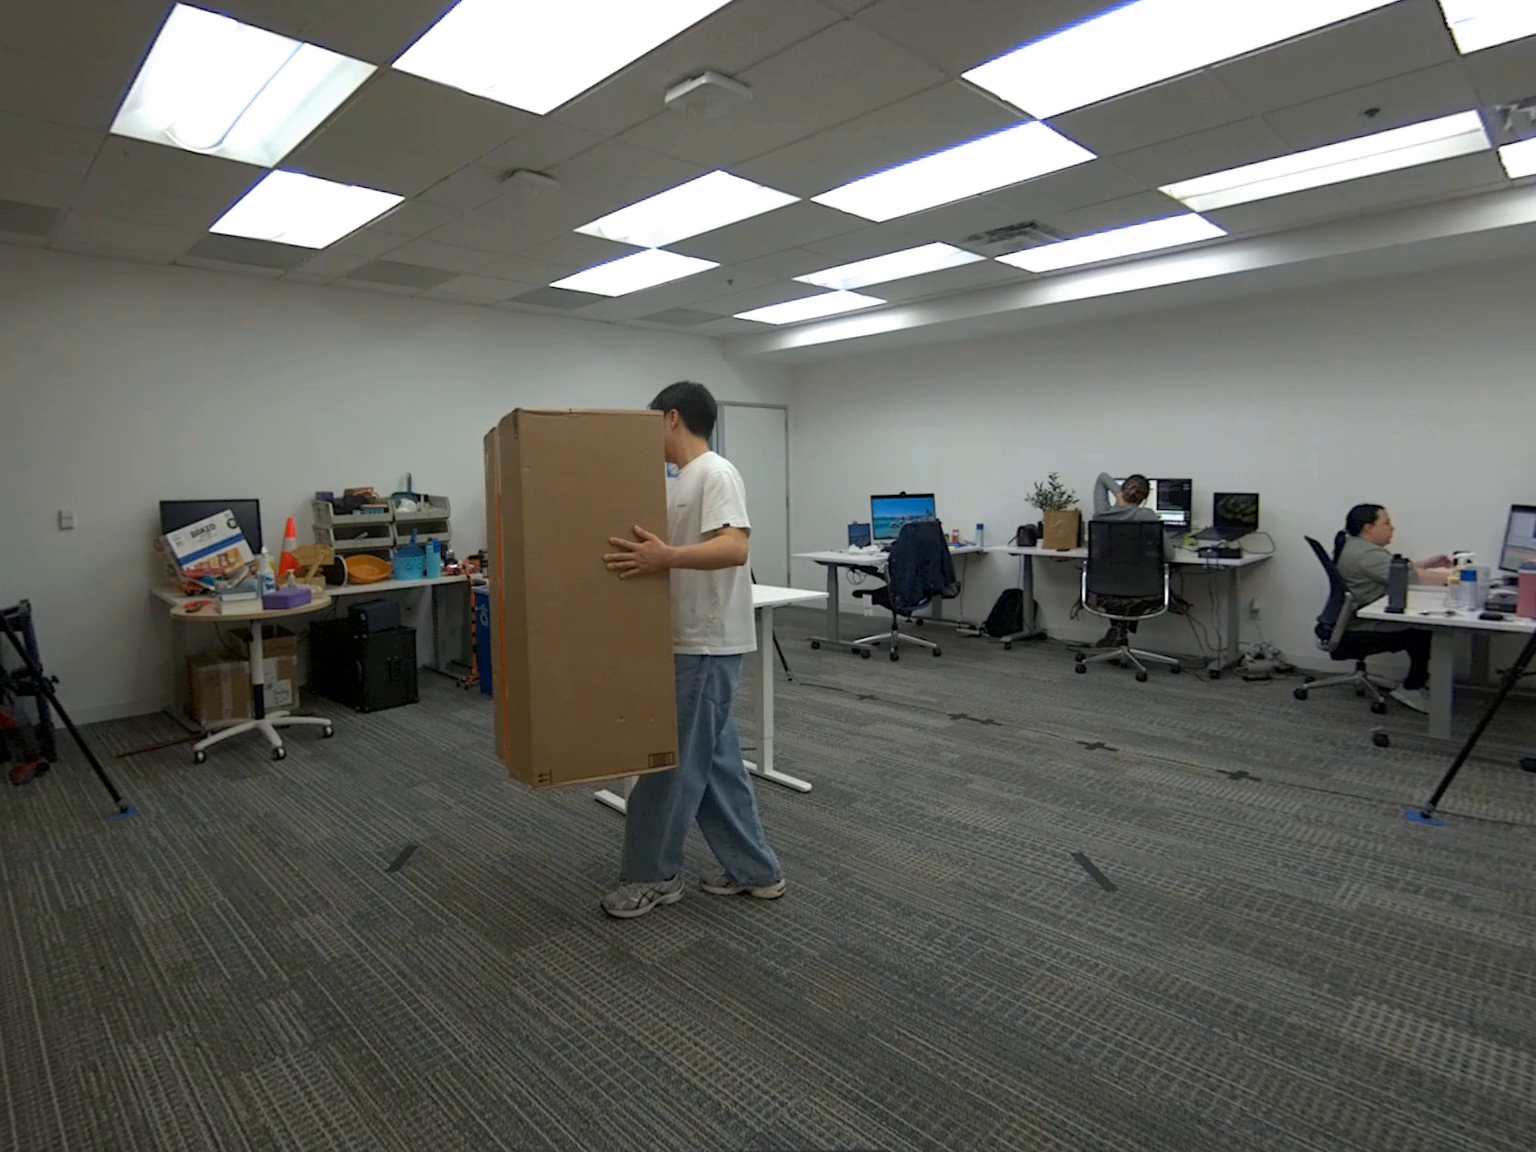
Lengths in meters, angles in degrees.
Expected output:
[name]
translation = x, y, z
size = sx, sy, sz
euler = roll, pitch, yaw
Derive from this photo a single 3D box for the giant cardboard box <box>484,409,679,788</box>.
[giant cardboard box]
translation = -0.591, 0.053, 2.606
size = 0.417, 1.027, 0.589
euler = -2, -1, -26
